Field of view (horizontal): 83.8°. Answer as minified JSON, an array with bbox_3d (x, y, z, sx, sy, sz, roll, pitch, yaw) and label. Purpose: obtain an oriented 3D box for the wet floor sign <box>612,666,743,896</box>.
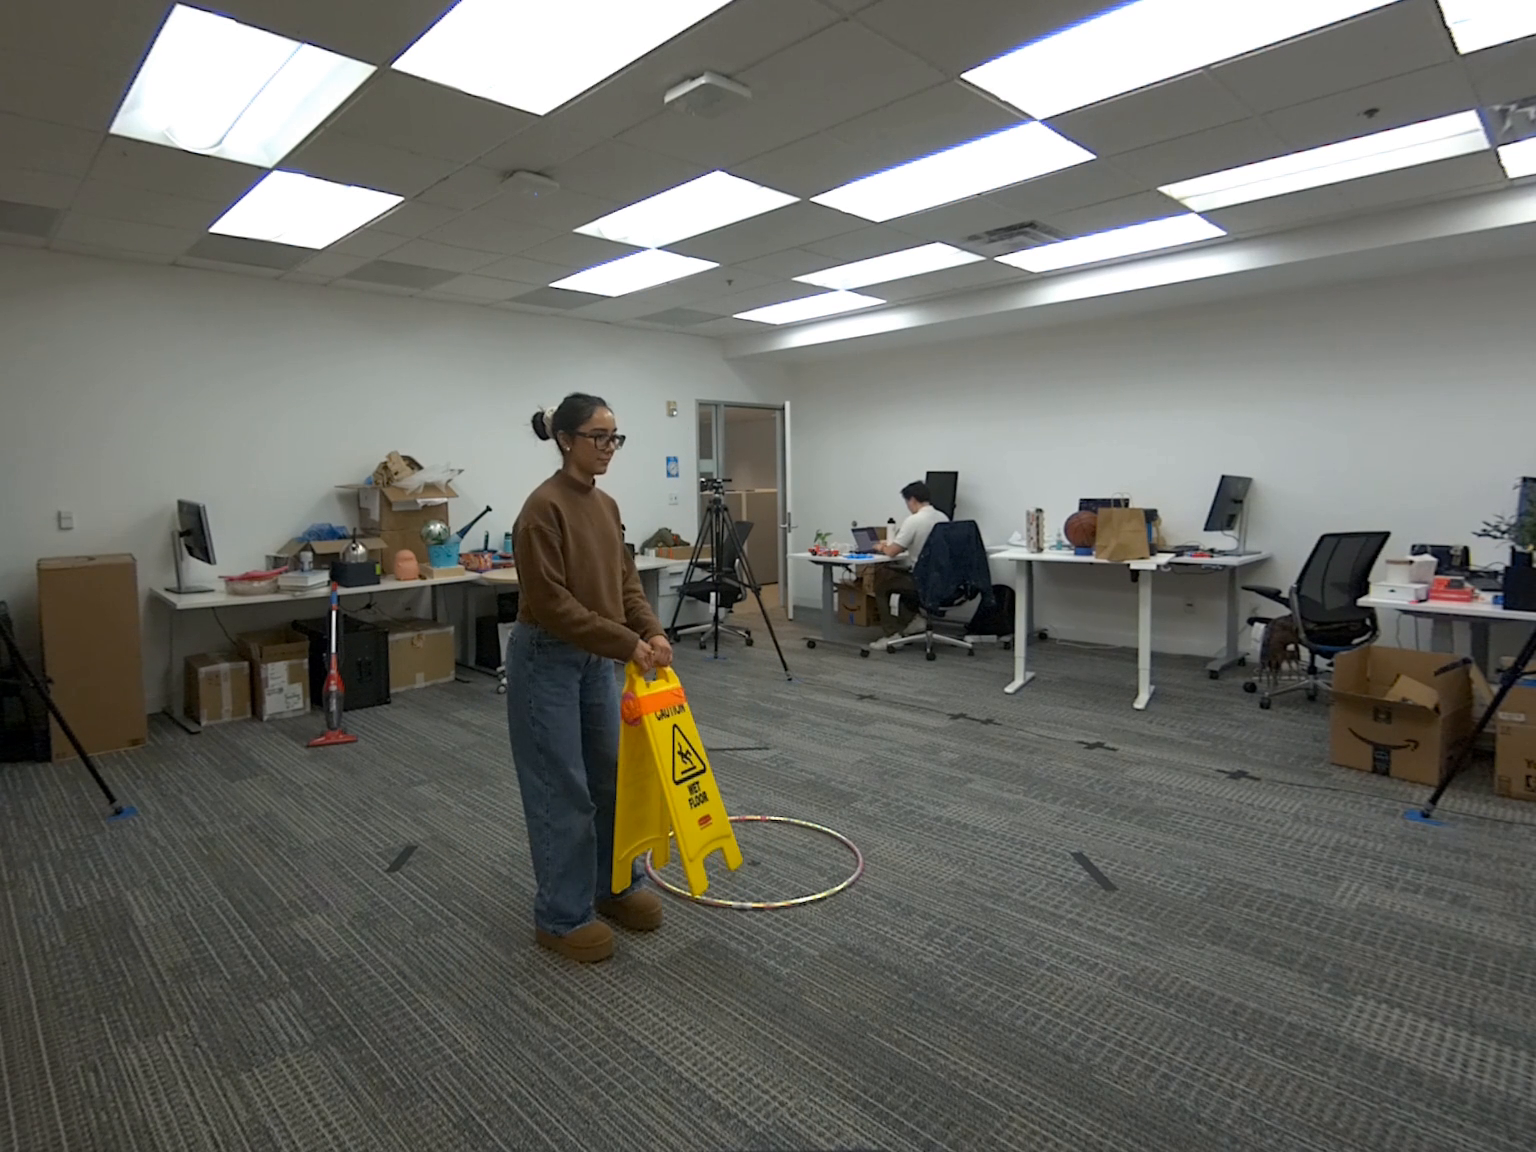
[{"bbox_3d":[-0.306,0.544,2.480,0.295,0.649,0.276,-10,-4,27],"label":"wet floor sign"}]
